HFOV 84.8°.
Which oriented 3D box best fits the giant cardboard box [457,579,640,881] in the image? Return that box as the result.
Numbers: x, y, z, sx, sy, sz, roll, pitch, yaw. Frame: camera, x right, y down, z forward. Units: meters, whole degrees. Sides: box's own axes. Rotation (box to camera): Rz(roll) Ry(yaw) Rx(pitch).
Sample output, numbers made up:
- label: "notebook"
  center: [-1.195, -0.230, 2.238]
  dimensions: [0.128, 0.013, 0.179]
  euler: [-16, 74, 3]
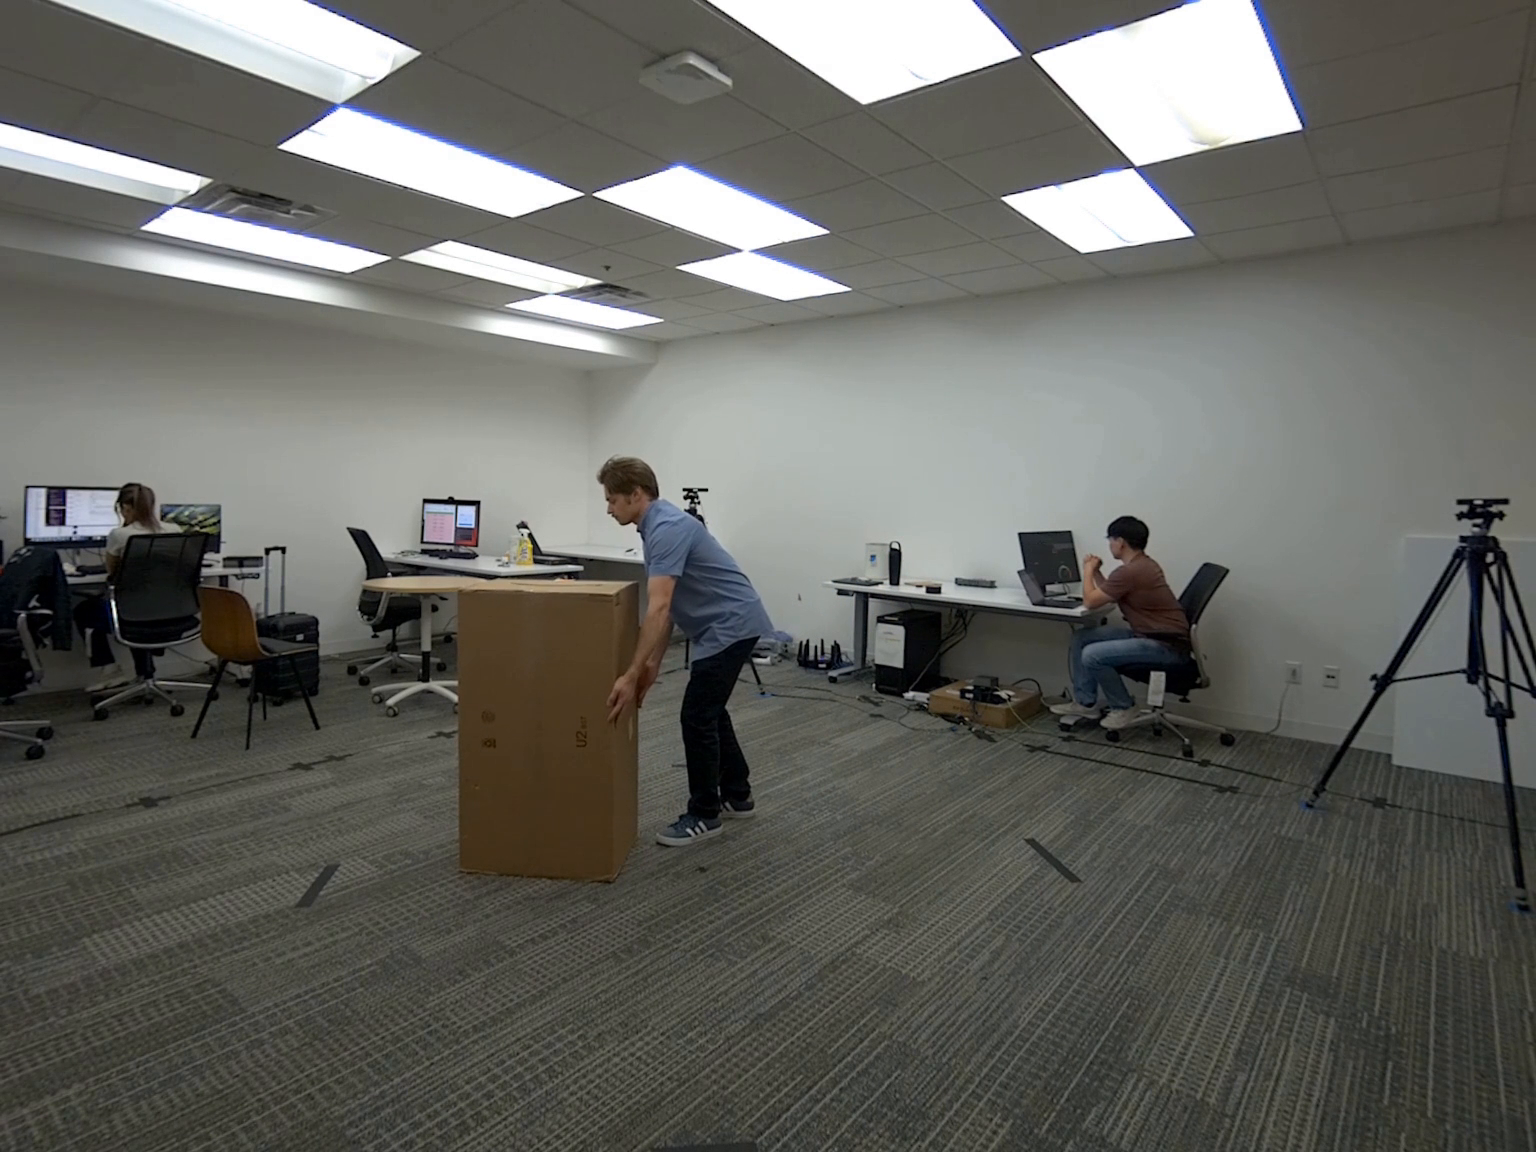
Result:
- label: "giant cardboard box"
  center: [-0.823, 0.543, 3.201]
  dimensions: [0.582, 1.024, 0.424]
  euler: [0, 2, 7]
